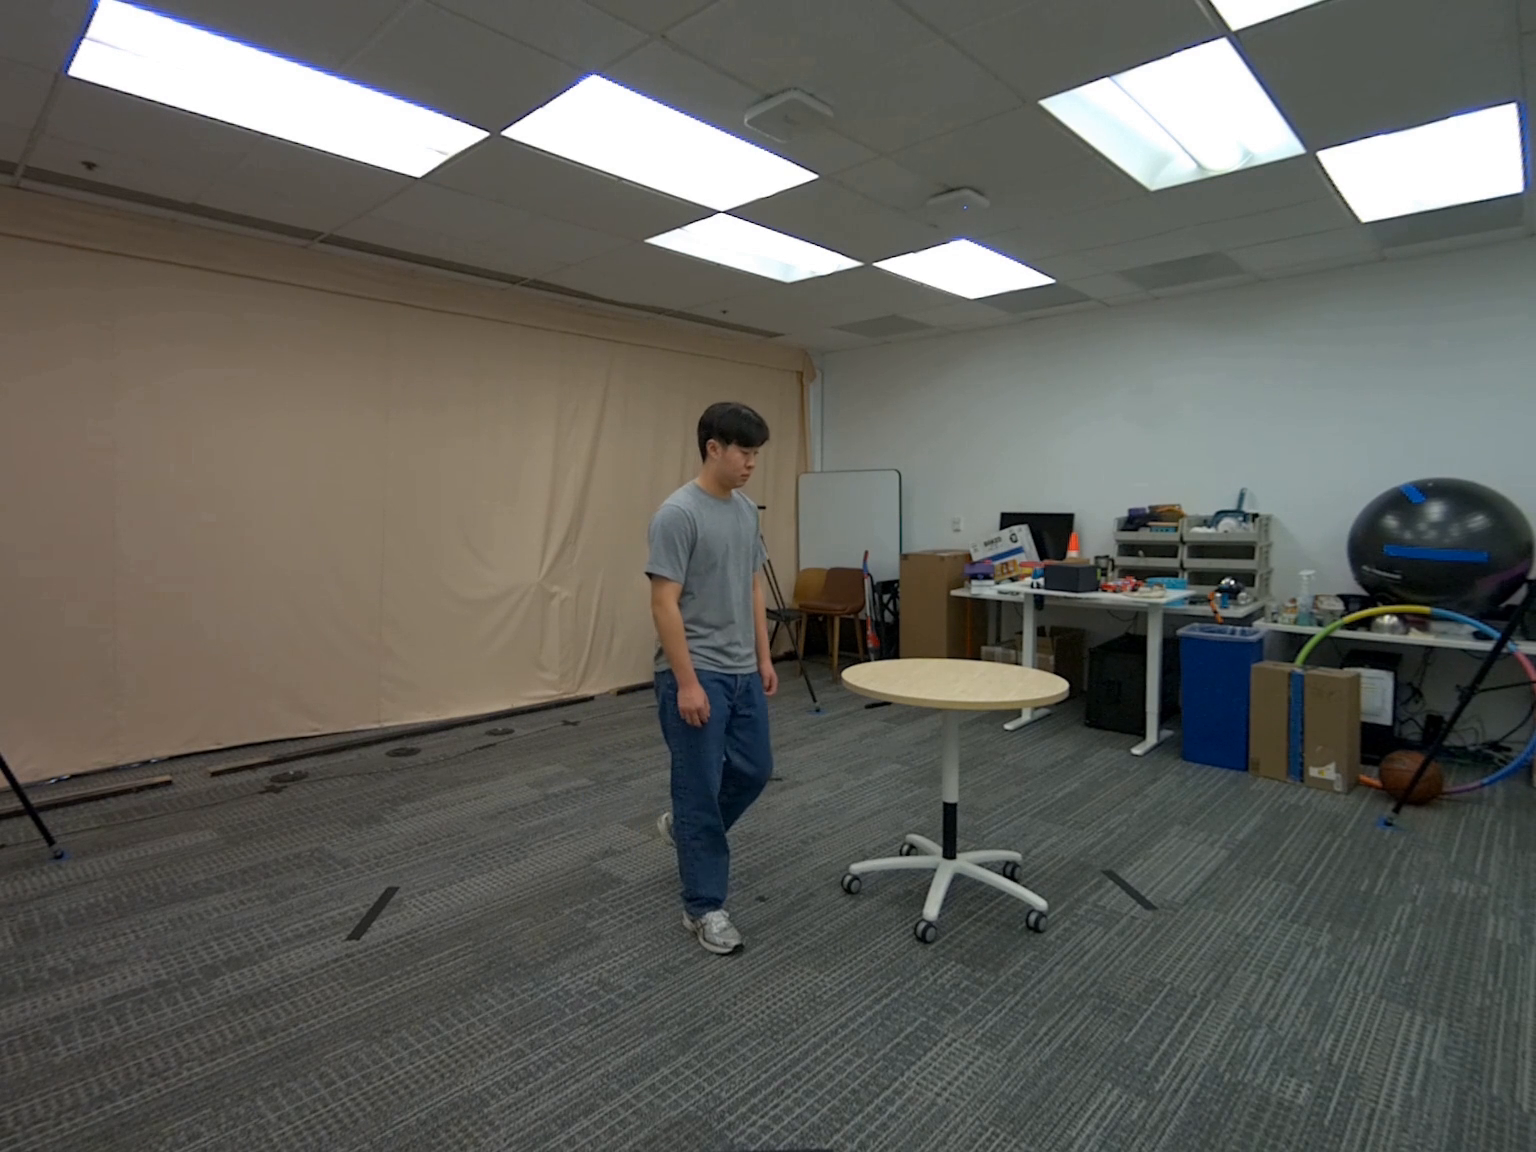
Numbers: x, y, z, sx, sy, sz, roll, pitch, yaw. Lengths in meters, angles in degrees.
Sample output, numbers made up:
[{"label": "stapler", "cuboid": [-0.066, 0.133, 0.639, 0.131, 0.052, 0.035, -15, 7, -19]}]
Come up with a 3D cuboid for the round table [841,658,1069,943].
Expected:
[{"label": "round table", "cuboid": [0.651, 0.753, 2.982, 0.763, 0.792, 0.766, 0, 3, -2]}]
